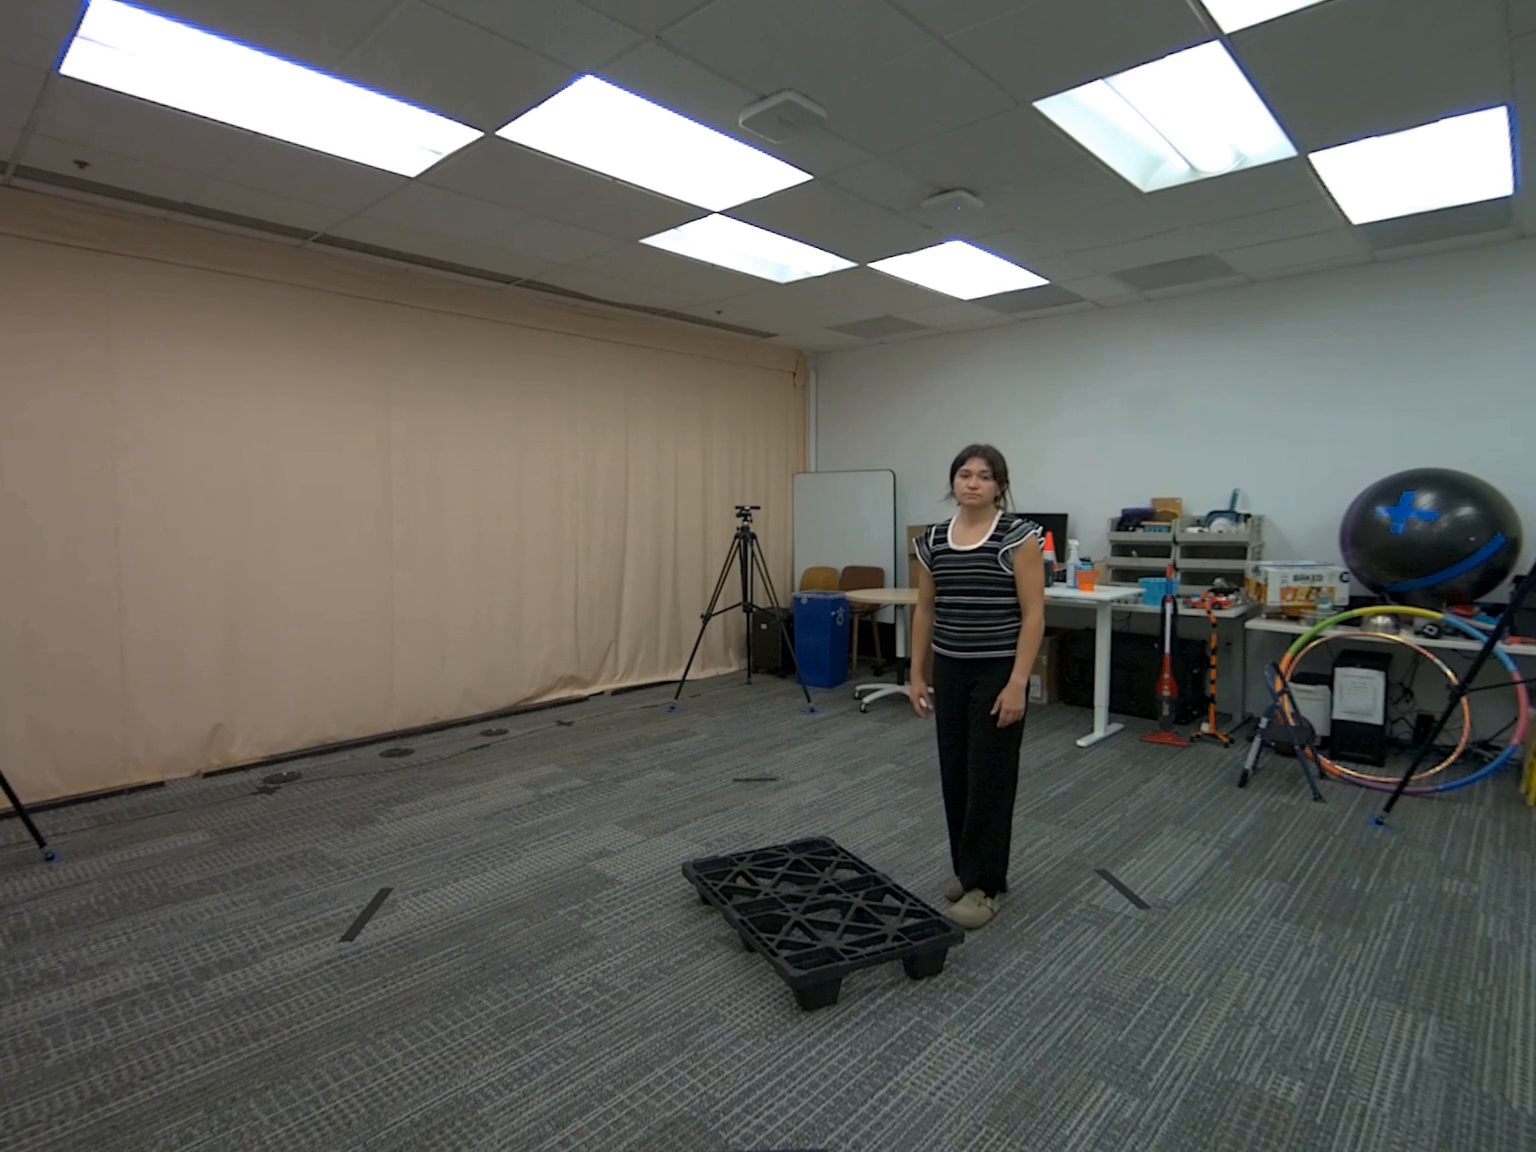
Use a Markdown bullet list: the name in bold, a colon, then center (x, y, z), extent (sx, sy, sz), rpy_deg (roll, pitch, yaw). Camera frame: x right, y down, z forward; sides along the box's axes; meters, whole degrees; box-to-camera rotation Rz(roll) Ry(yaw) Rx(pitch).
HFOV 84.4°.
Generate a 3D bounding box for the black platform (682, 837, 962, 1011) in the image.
- **black platform**: center (0.144, 1.098, 2.733), extent (0.591, 0.143, 0.827), rpy_deg (-3, 5, -26)
